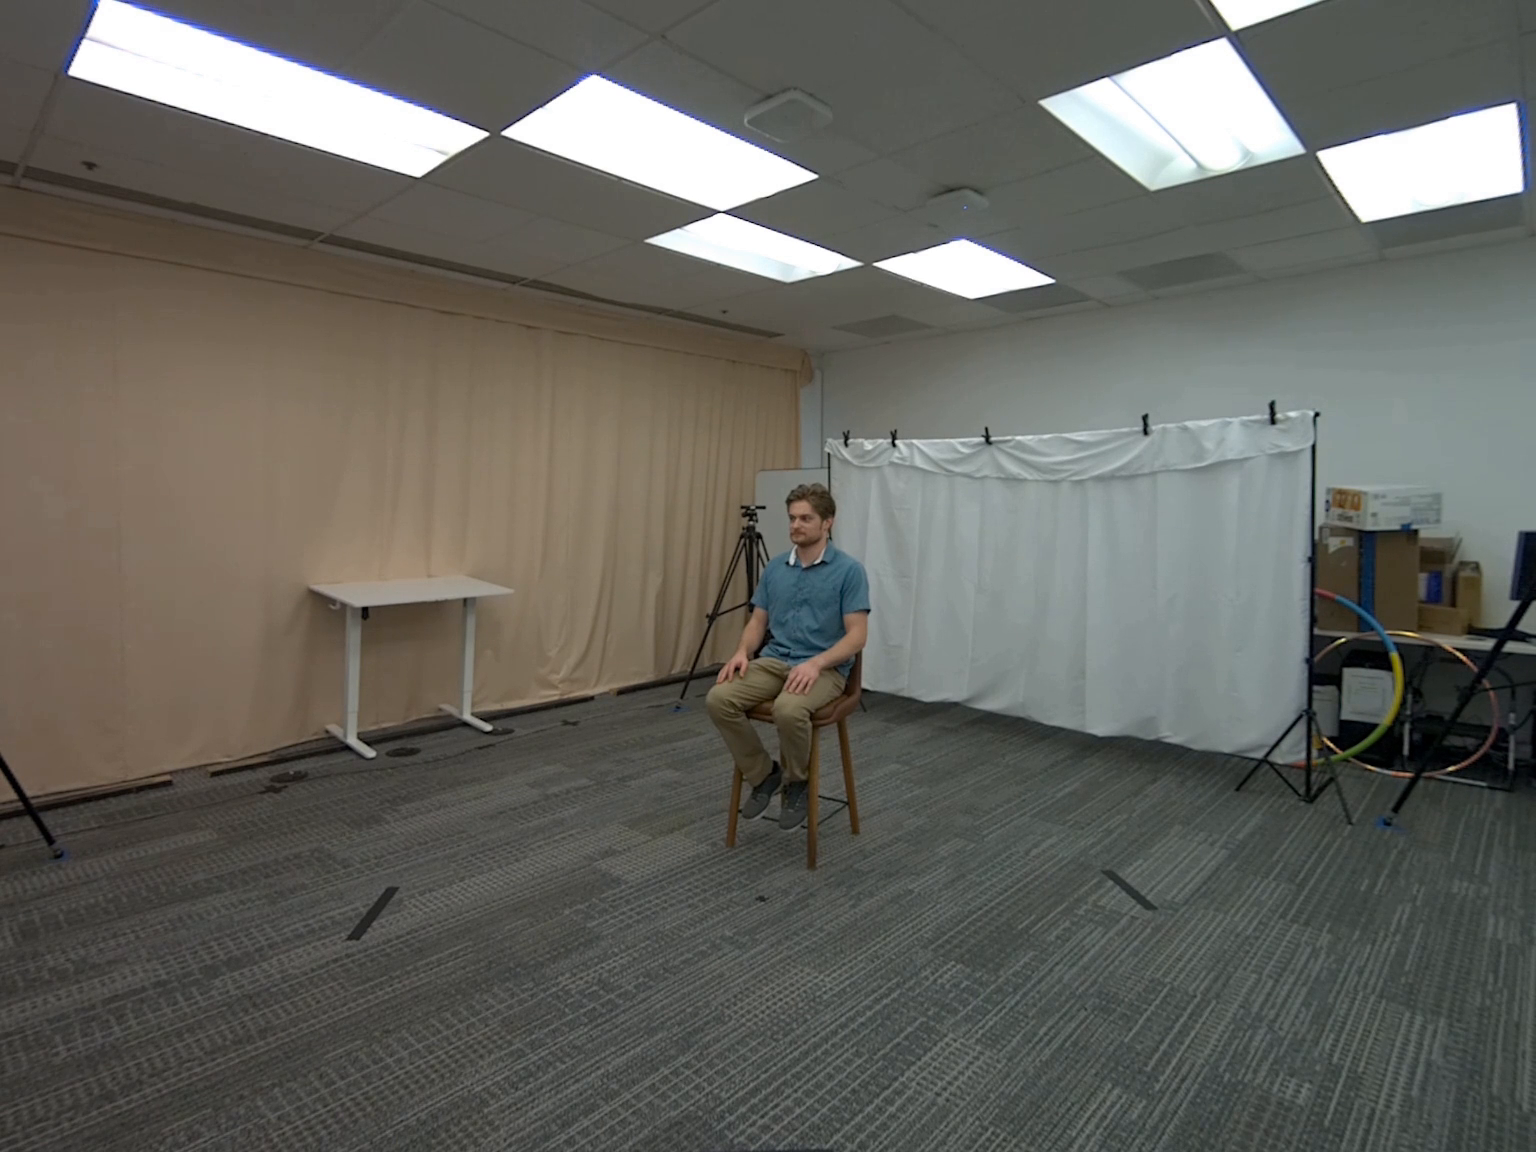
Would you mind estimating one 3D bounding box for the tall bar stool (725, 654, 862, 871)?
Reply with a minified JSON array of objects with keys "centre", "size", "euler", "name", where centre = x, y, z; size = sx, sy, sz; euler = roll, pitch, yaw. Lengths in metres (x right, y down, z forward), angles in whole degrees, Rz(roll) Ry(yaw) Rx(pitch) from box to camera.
[{"centre":[0.129,0.663,3.494],"size":[0.471,0.889,0.454],"euler":[3,2,34],"name":"tall bar stool"}]
